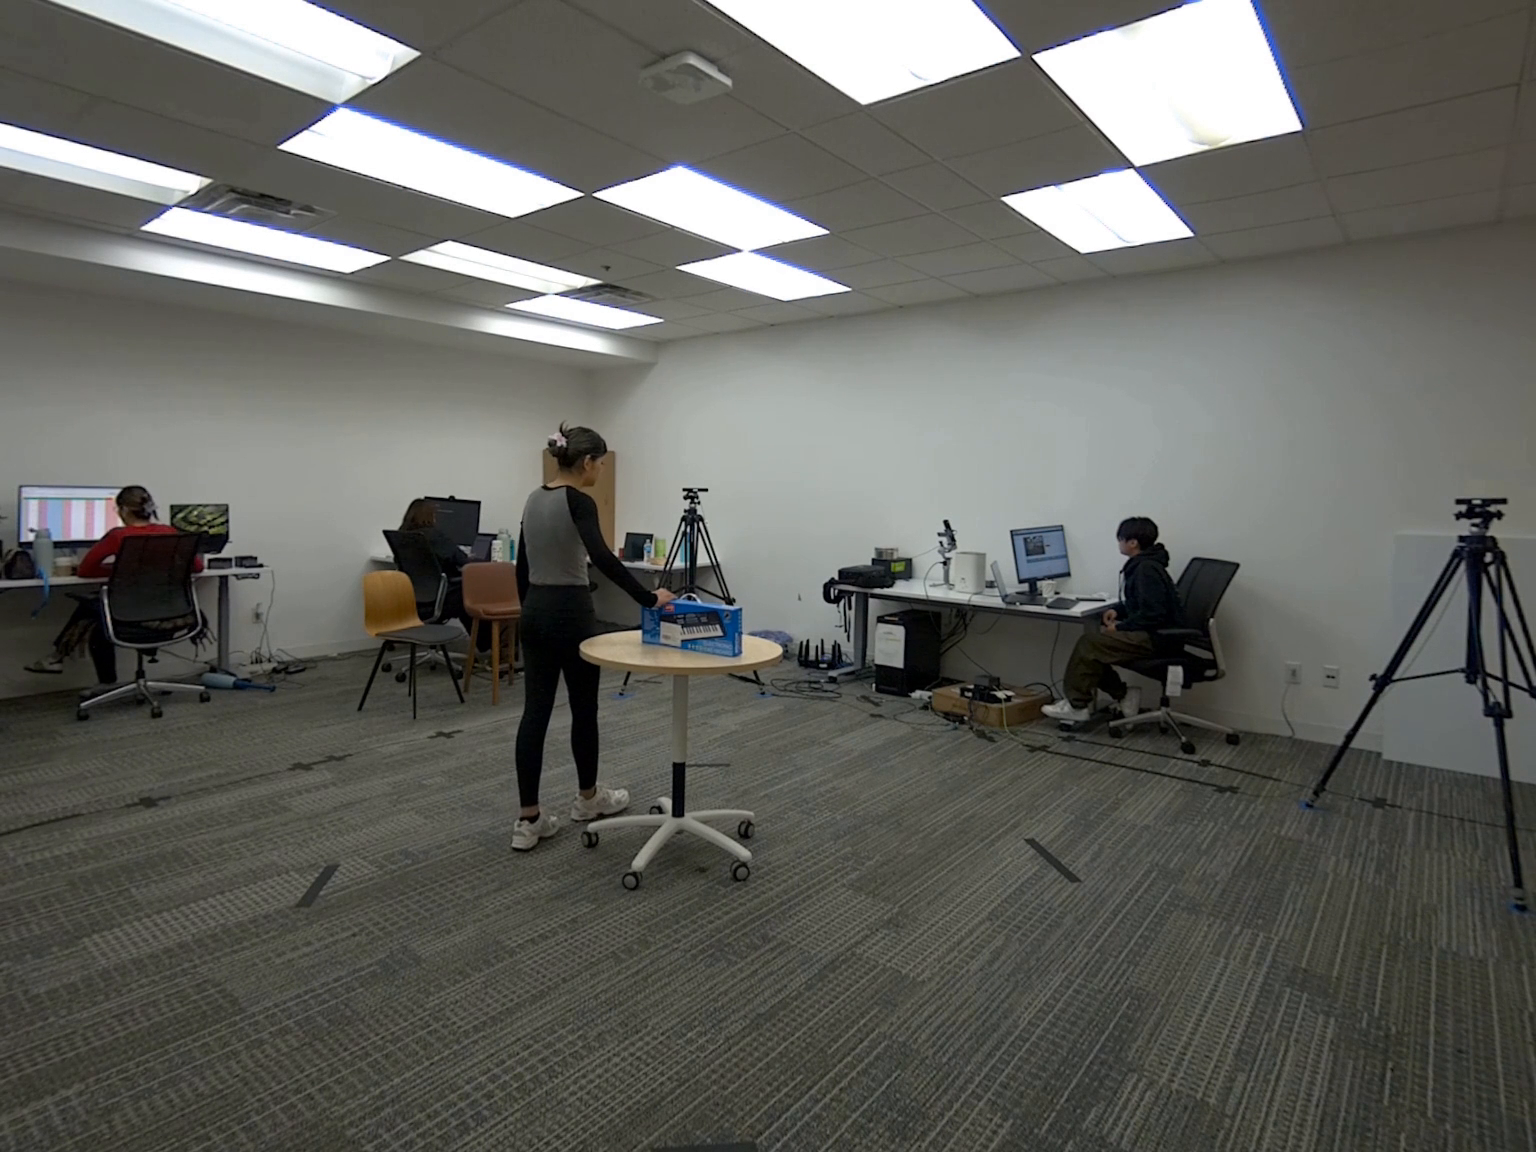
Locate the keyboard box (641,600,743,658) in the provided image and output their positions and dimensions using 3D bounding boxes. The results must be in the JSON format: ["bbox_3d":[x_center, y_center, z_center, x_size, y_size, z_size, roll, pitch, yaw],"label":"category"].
[{"bbox_3d":[-0.301,0.184,3.168,0.451,0.175,0.057,5,7,35],"label":"keyboard box"}]
